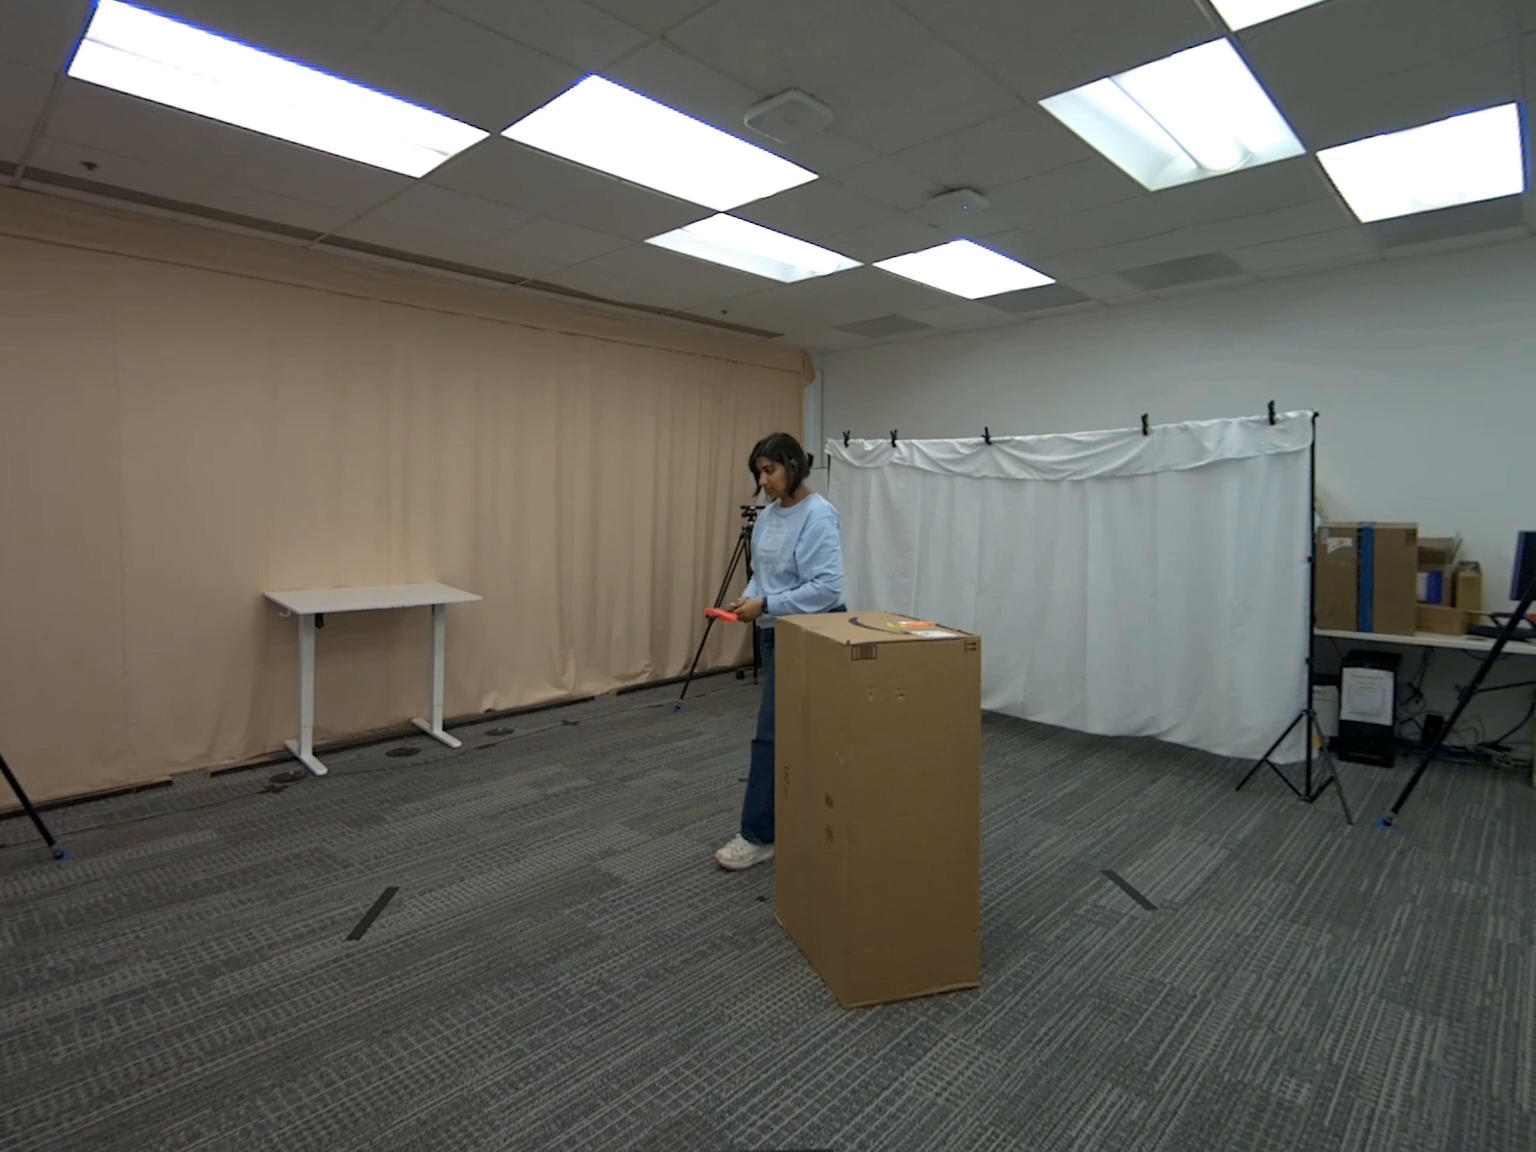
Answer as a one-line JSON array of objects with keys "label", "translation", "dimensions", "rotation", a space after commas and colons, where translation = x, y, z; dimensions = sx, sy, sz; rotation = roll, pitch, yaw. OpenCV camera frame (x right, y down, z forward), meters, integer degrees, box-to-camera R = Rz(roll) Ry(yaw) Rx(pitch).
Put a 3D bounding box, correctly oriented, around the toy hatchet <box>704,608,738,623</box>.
[{"label": "toy hatchet", "translation": [-0.102, 0.136, 3.227], "dimensions": [0.262, 0.029, 0.136], "rotation": [-7, 21, -44]}]
